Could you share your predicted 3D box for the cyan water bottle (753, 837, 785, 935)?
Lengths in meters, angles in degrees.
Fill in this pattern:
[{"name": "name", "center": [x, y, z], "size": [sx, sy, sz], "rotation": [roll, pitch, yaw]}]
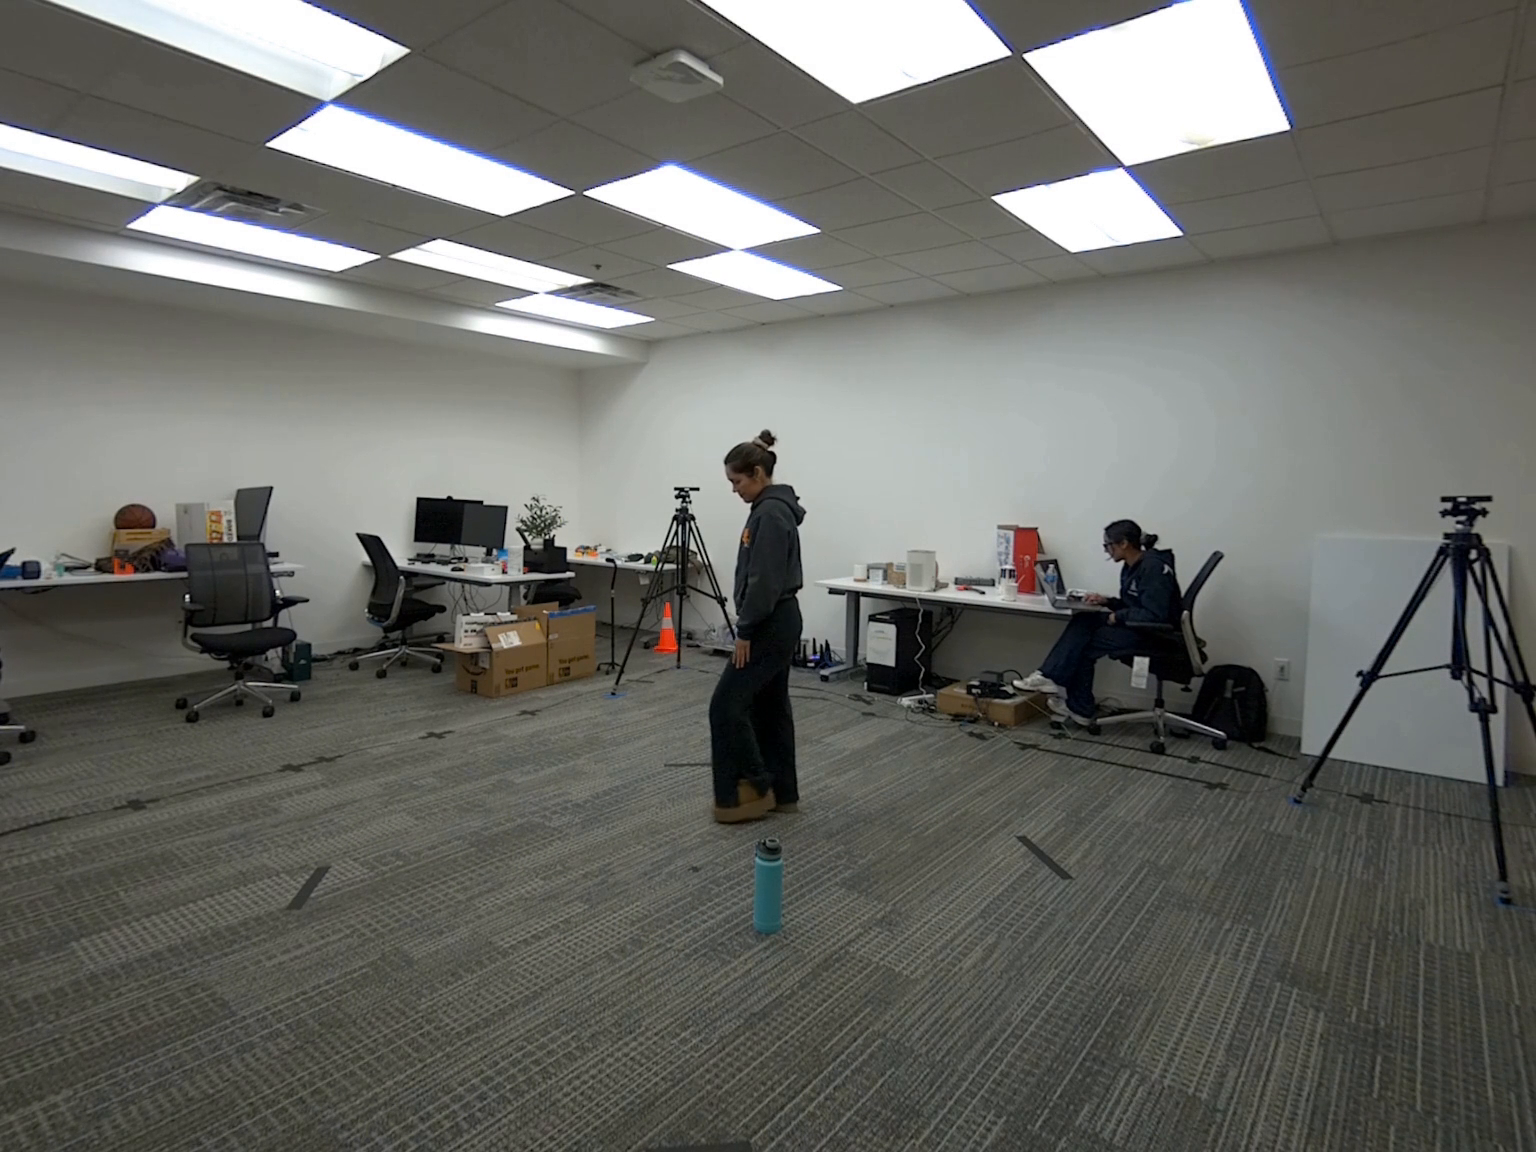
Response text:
[{"name": "cyan water bottle", "center": [-0.007, 0.968, 2.697], "size": [0.092, 0.283, 0.092], "rotation": [1, 2, -2]}]
